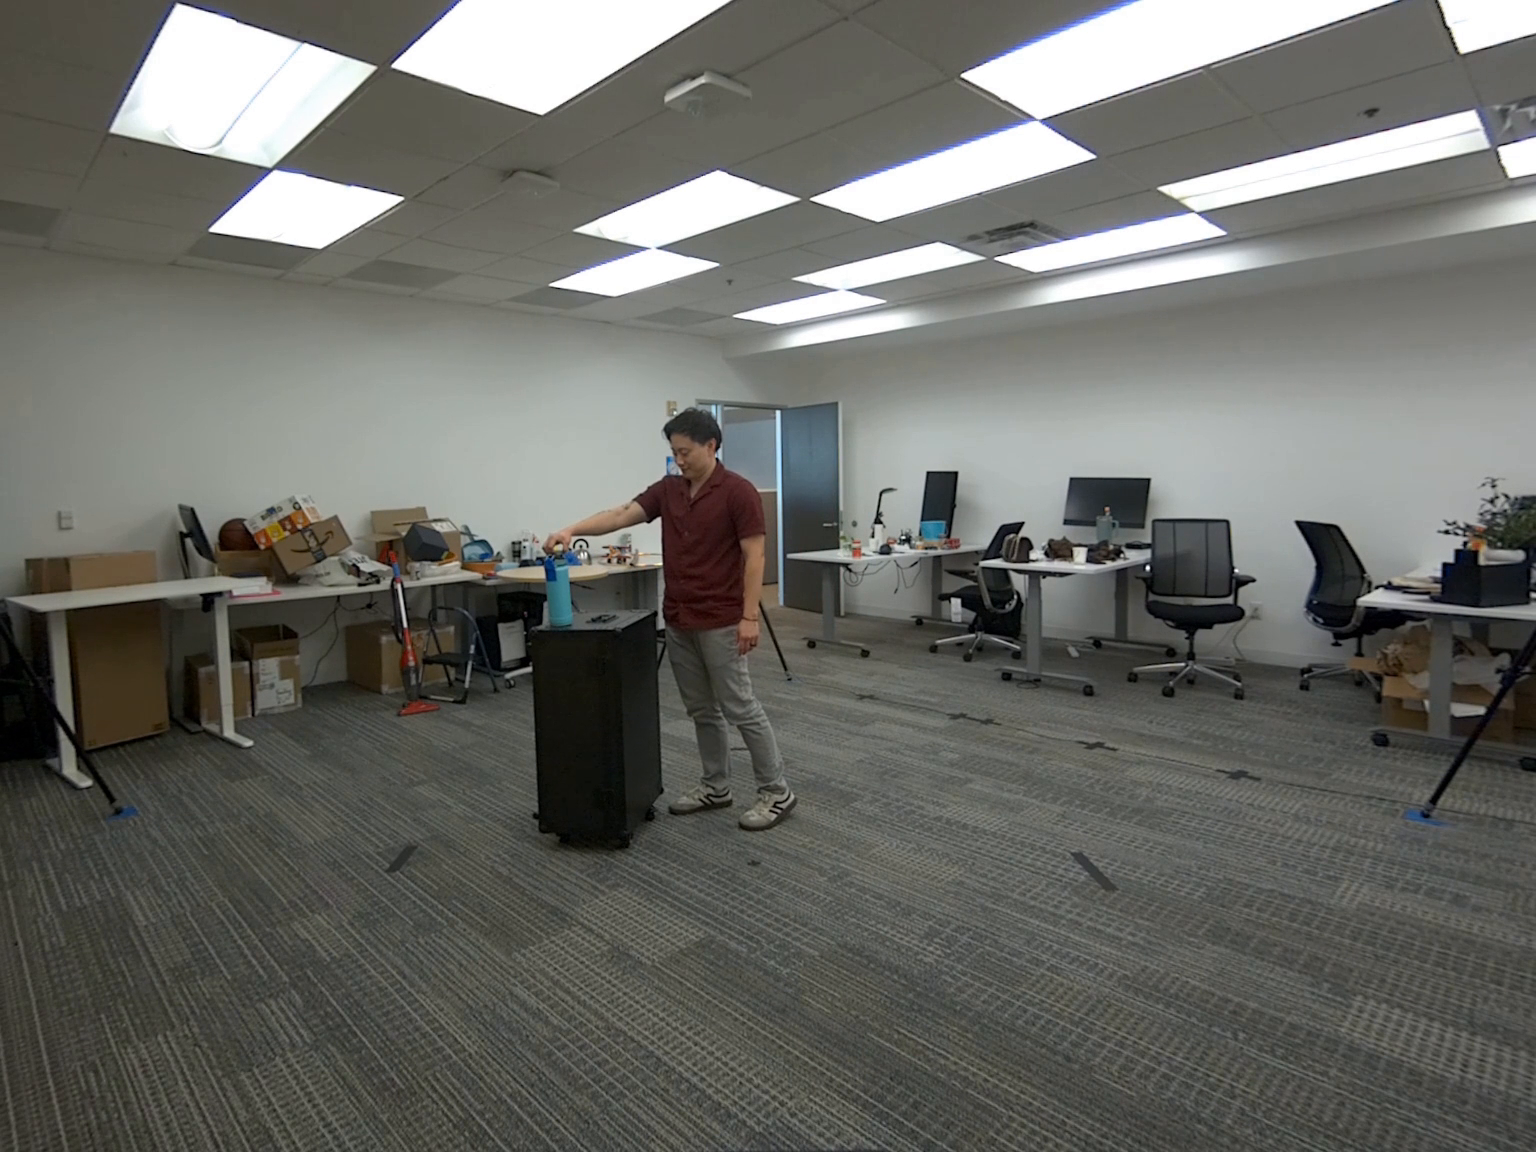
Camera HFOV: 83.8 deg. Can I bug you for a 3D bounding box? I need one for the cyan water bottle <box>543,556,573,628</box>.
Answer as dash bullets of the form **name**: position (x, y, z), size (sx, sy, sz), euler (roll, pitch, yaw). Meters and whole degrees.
- **cyan water bottle**: position (-0.813, 0.049, 3.291), size (0.092, 0.281, 0.093), euler (-5, 8, -1)
